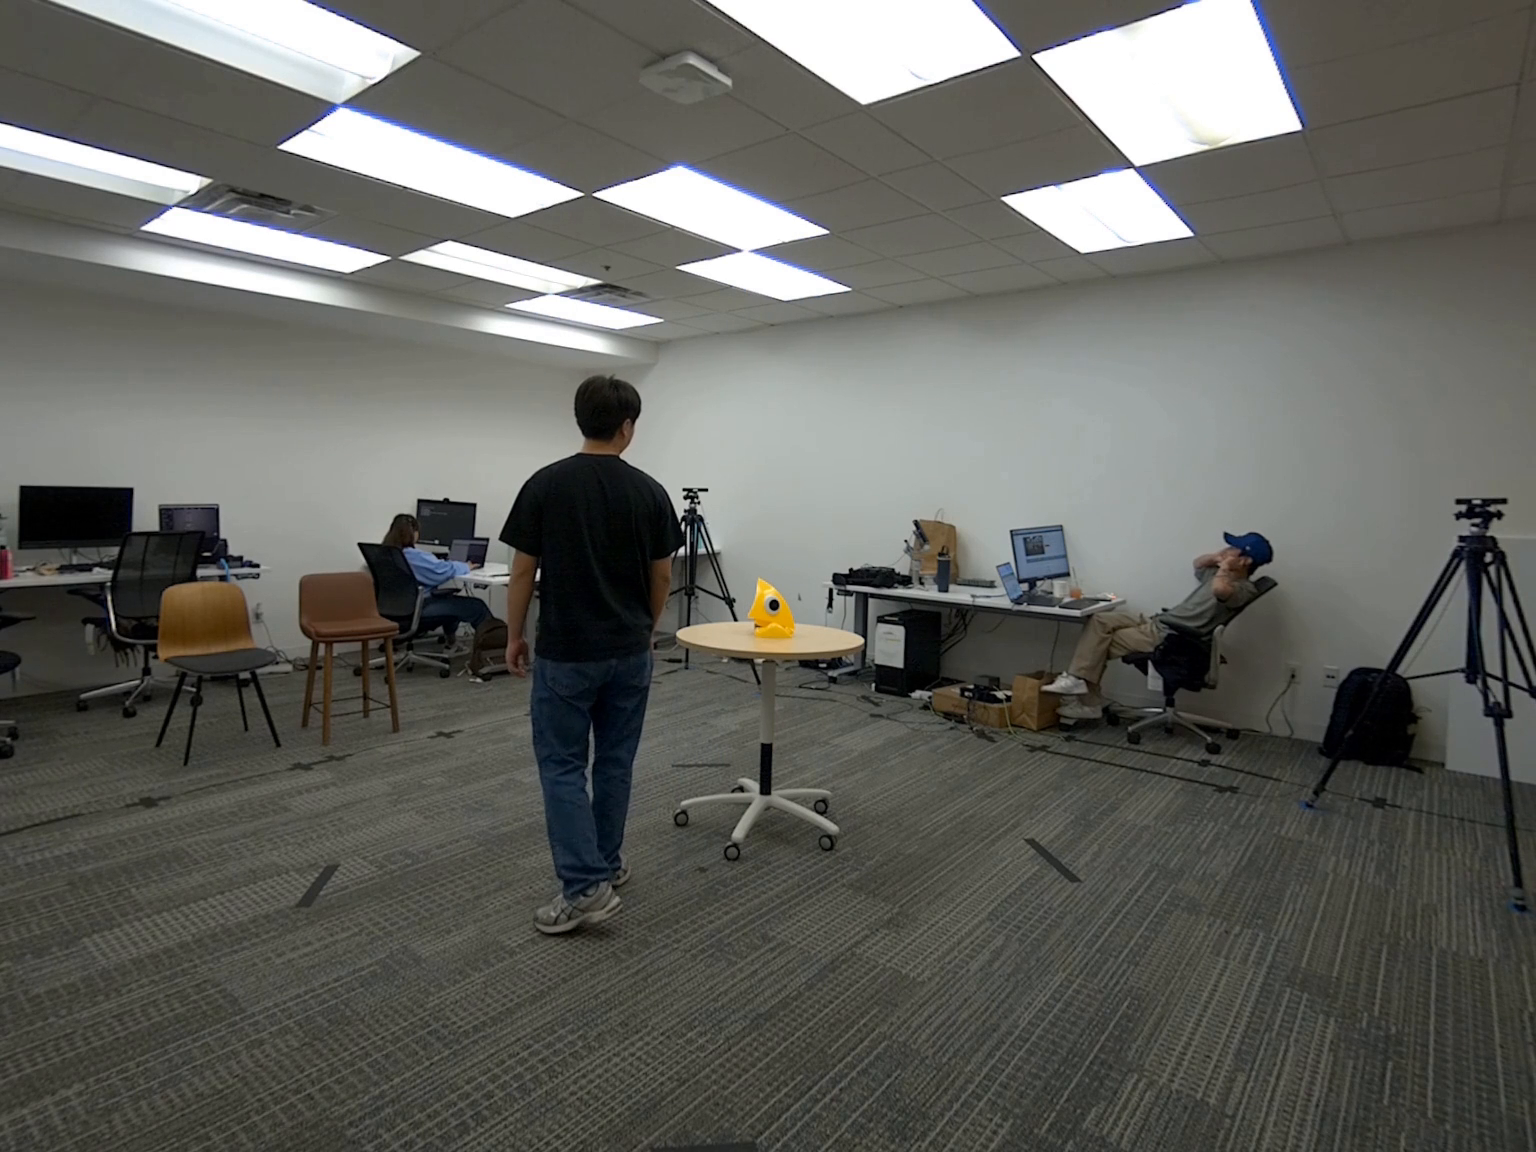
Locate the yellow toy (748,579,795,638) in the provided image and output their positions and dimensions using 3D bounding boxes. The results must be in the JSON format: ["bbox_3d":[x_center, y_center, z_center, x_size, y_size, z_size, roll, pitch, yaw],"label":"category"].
[{"bbox_3d":[0.008,0.123,3.518,0.195,0.230,0.204,2,4,6],"label":"yellow toy"}]
